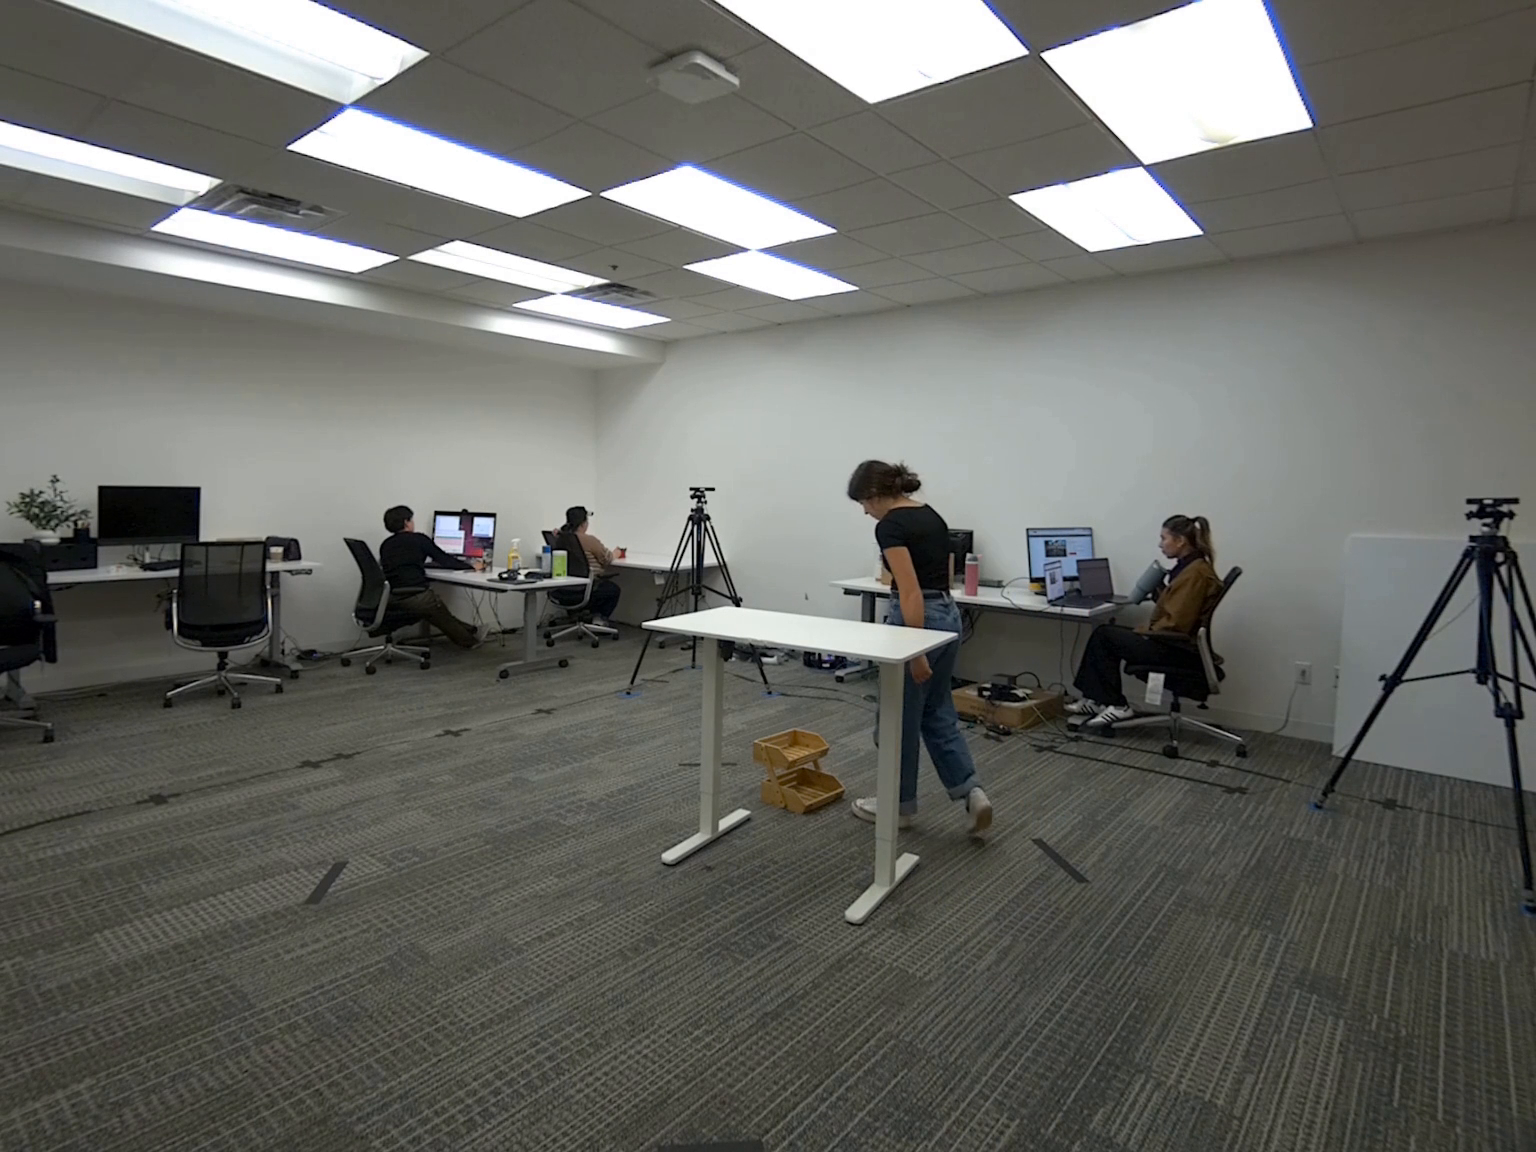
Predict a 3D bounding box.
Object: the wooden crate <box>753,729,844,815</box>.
[{"bbox_3d":[0.135,0.868,3.843,0.312,0.272,0.315,4,6,41],"label":"wooden crate"}]
